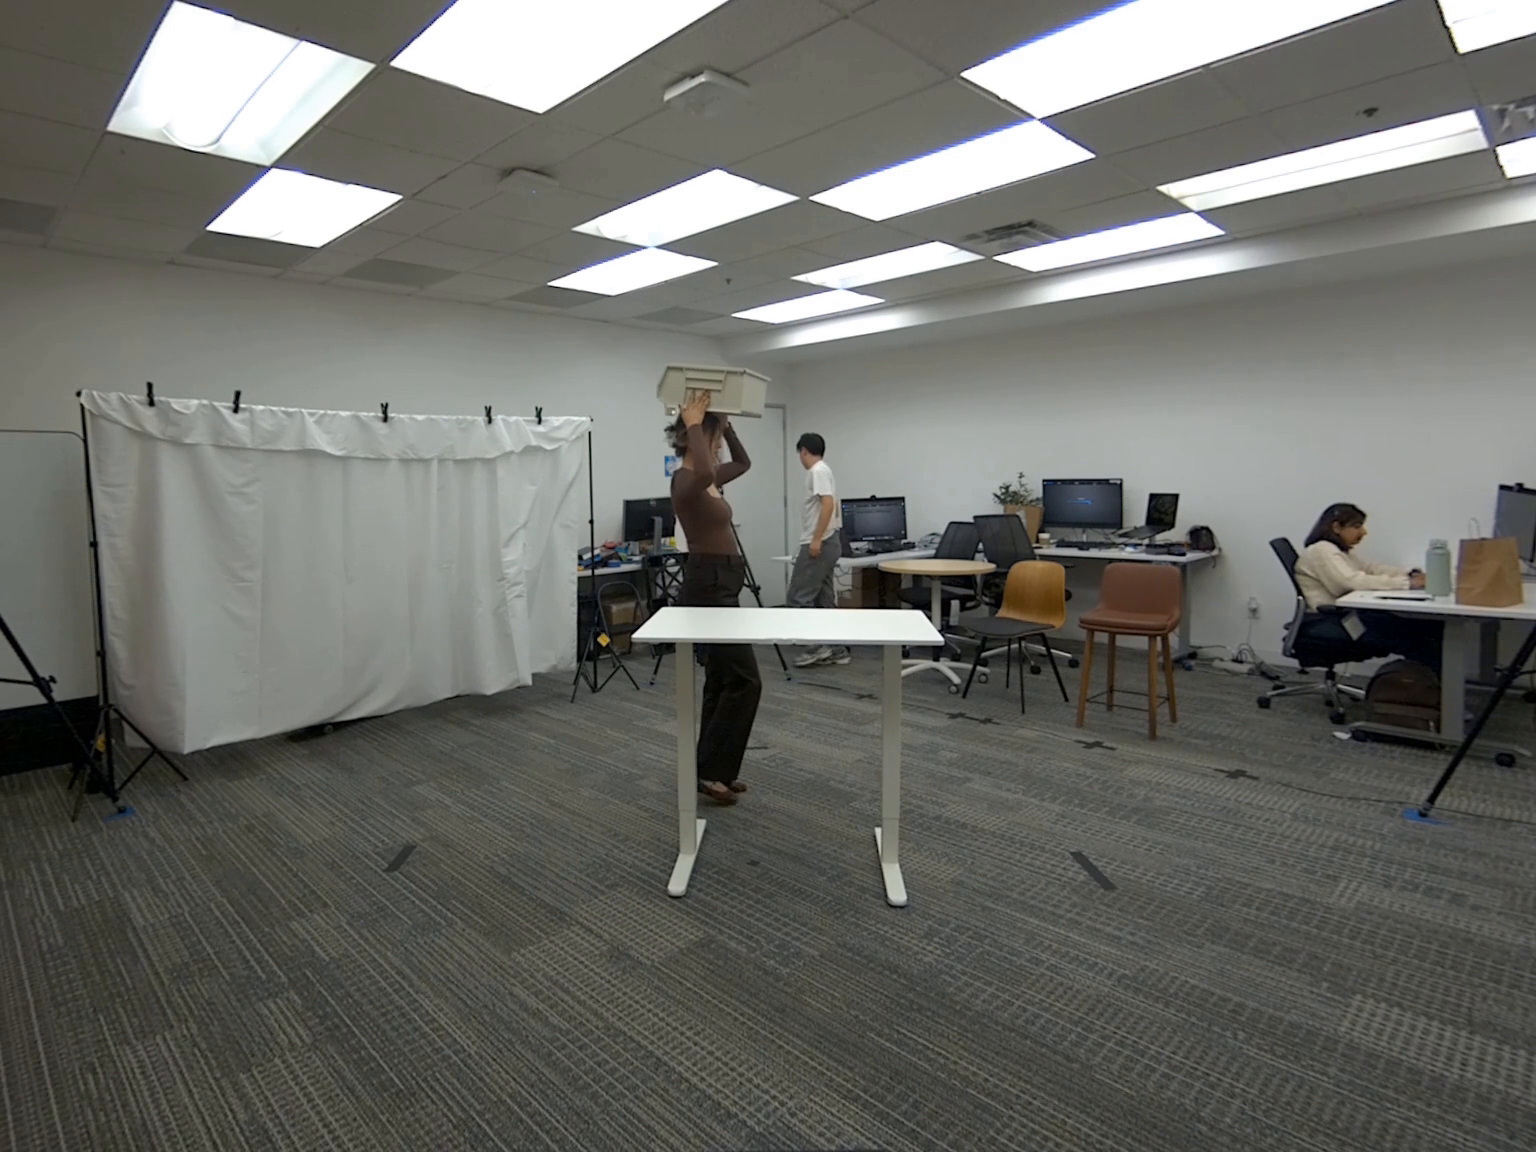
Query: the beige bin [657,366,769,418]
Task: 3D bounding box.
[{"bbox_3d":[-0.232,-0.801,3.676,0.383,0.188,0.419,11,9,12],"label":"beige bin"}]
